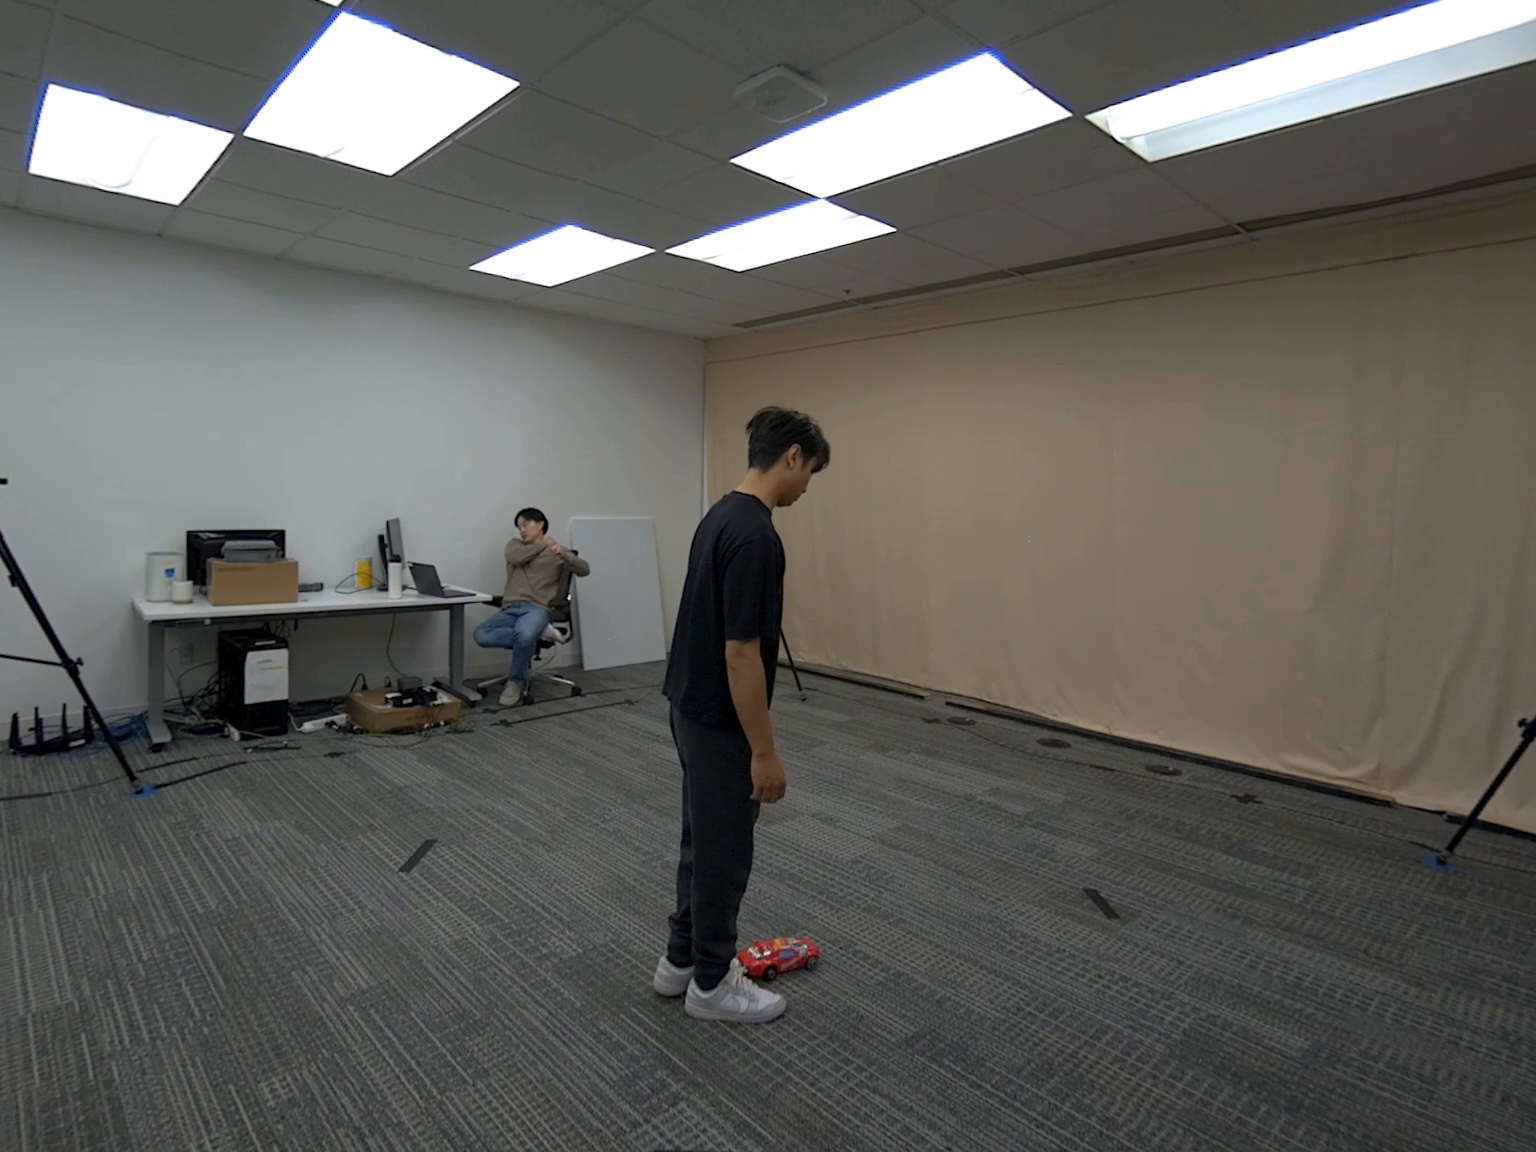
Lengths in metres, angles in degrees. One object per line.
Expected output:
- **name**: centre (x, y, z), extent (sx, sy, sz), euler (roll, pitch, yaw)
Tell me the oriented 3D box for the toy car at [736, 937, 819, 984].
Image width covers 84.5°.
- **toy car**: centre (0.025, 1.134, 2.500), extent (0.248, 0.083, 0.133), euler (12, -1, -29)
